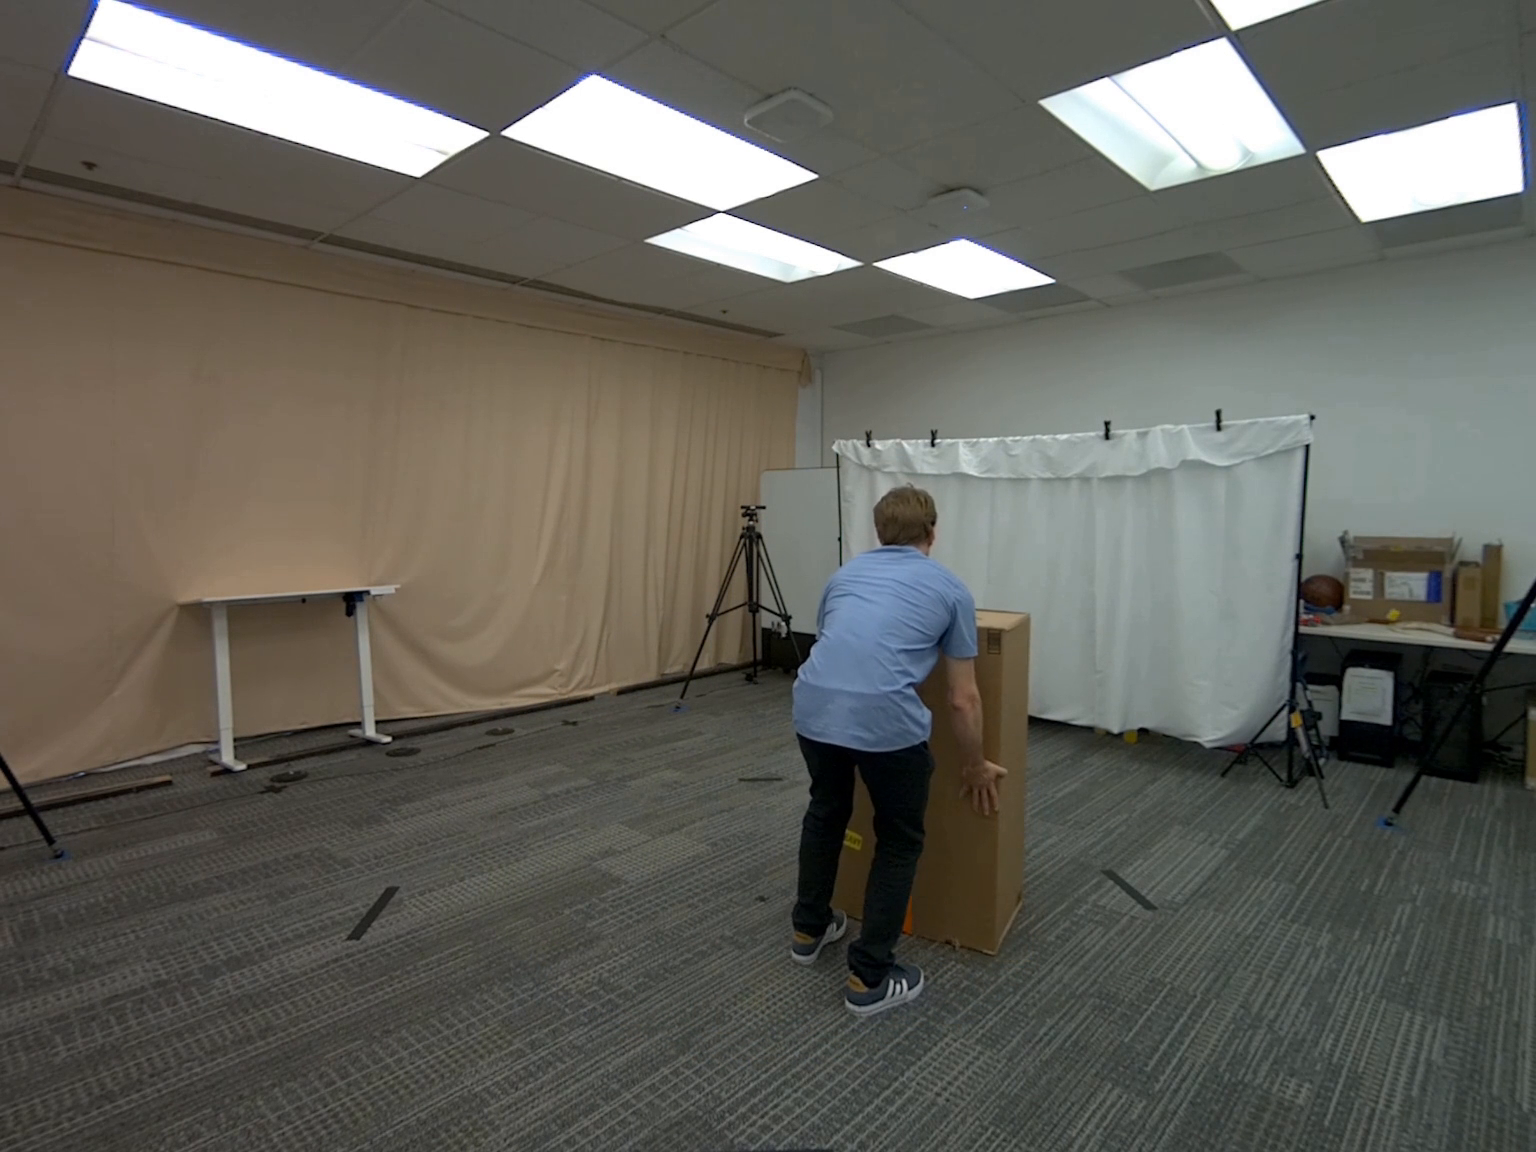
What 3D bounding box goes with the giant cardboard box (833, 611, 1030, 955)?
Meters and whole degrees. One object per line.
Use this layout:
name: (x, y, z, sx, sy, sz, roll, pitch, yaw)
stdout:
giant cardboard box: (0.560, 0.643, 2.897, 0.595, 1.024, 0.415, 3, 4, 31)
